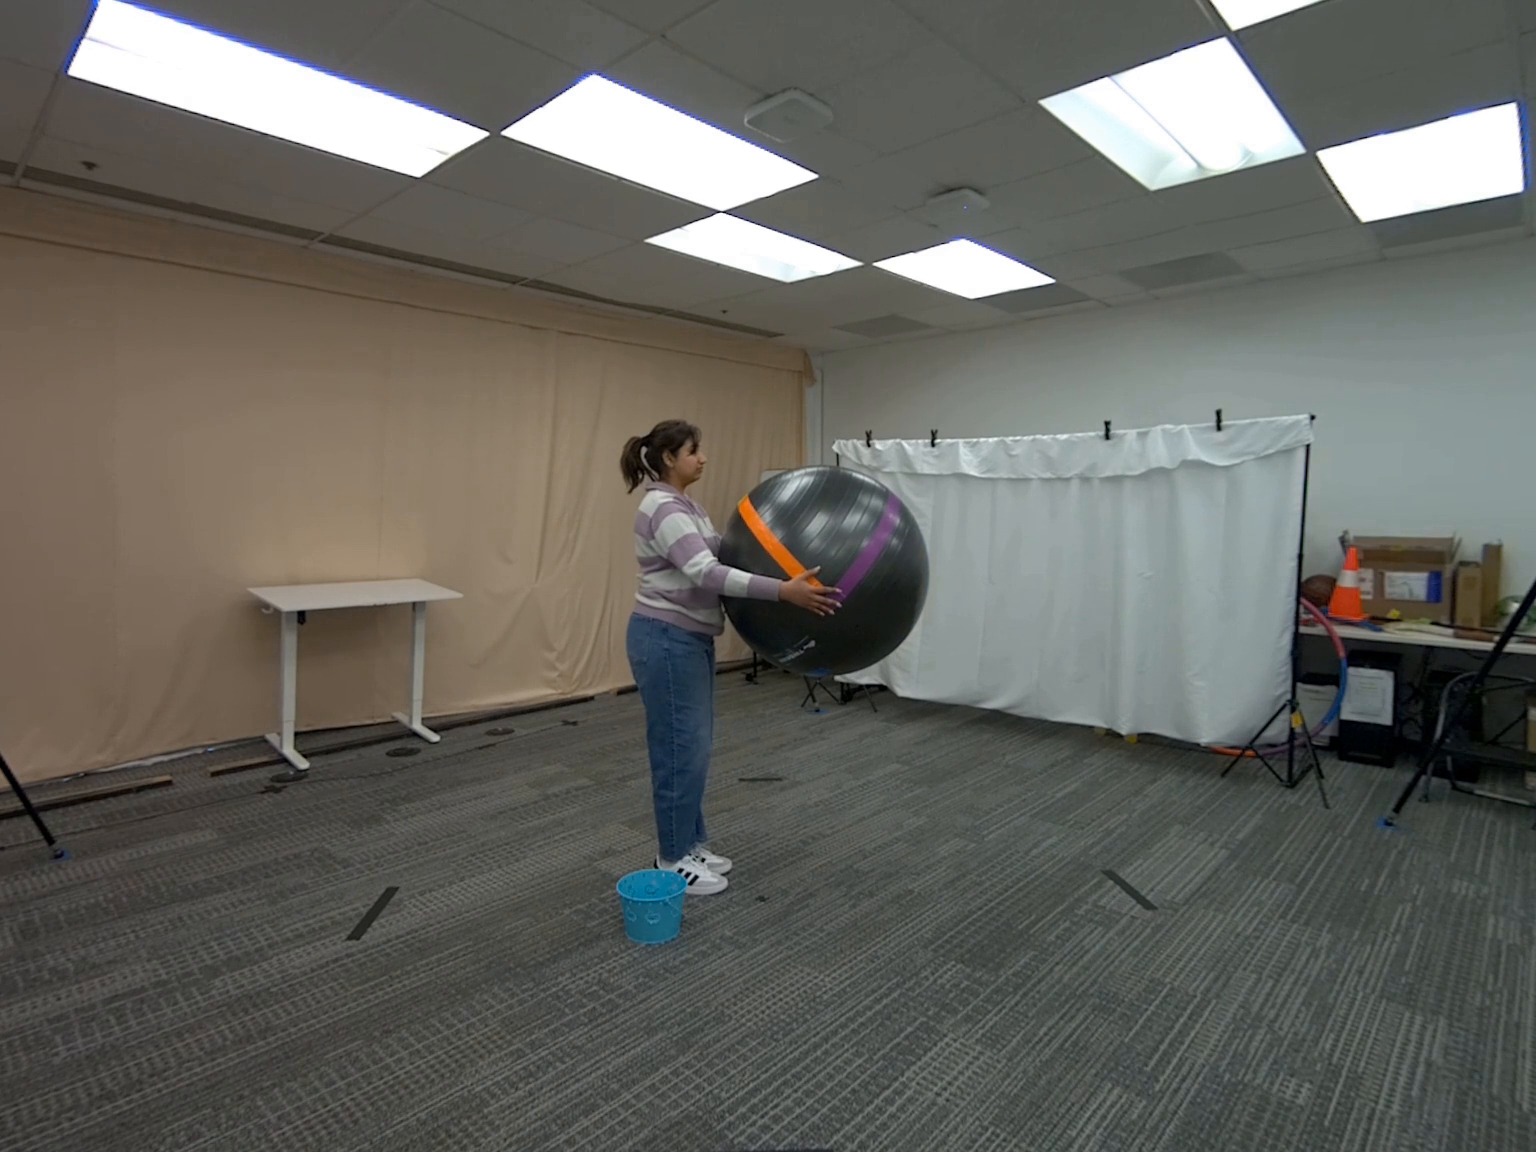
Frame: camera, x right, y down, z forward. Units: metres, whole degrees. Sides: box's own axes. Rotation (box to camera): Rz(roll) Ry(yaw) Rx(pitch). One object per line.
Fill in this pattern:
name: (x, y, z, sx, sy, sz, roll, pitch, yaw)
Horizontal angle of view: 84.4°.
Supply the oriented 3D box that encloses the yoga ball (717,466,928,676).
yoga ball: (0.205, -0.009, 3.040, 0.757, 0.756, 0.761, 0, 4, -2)
